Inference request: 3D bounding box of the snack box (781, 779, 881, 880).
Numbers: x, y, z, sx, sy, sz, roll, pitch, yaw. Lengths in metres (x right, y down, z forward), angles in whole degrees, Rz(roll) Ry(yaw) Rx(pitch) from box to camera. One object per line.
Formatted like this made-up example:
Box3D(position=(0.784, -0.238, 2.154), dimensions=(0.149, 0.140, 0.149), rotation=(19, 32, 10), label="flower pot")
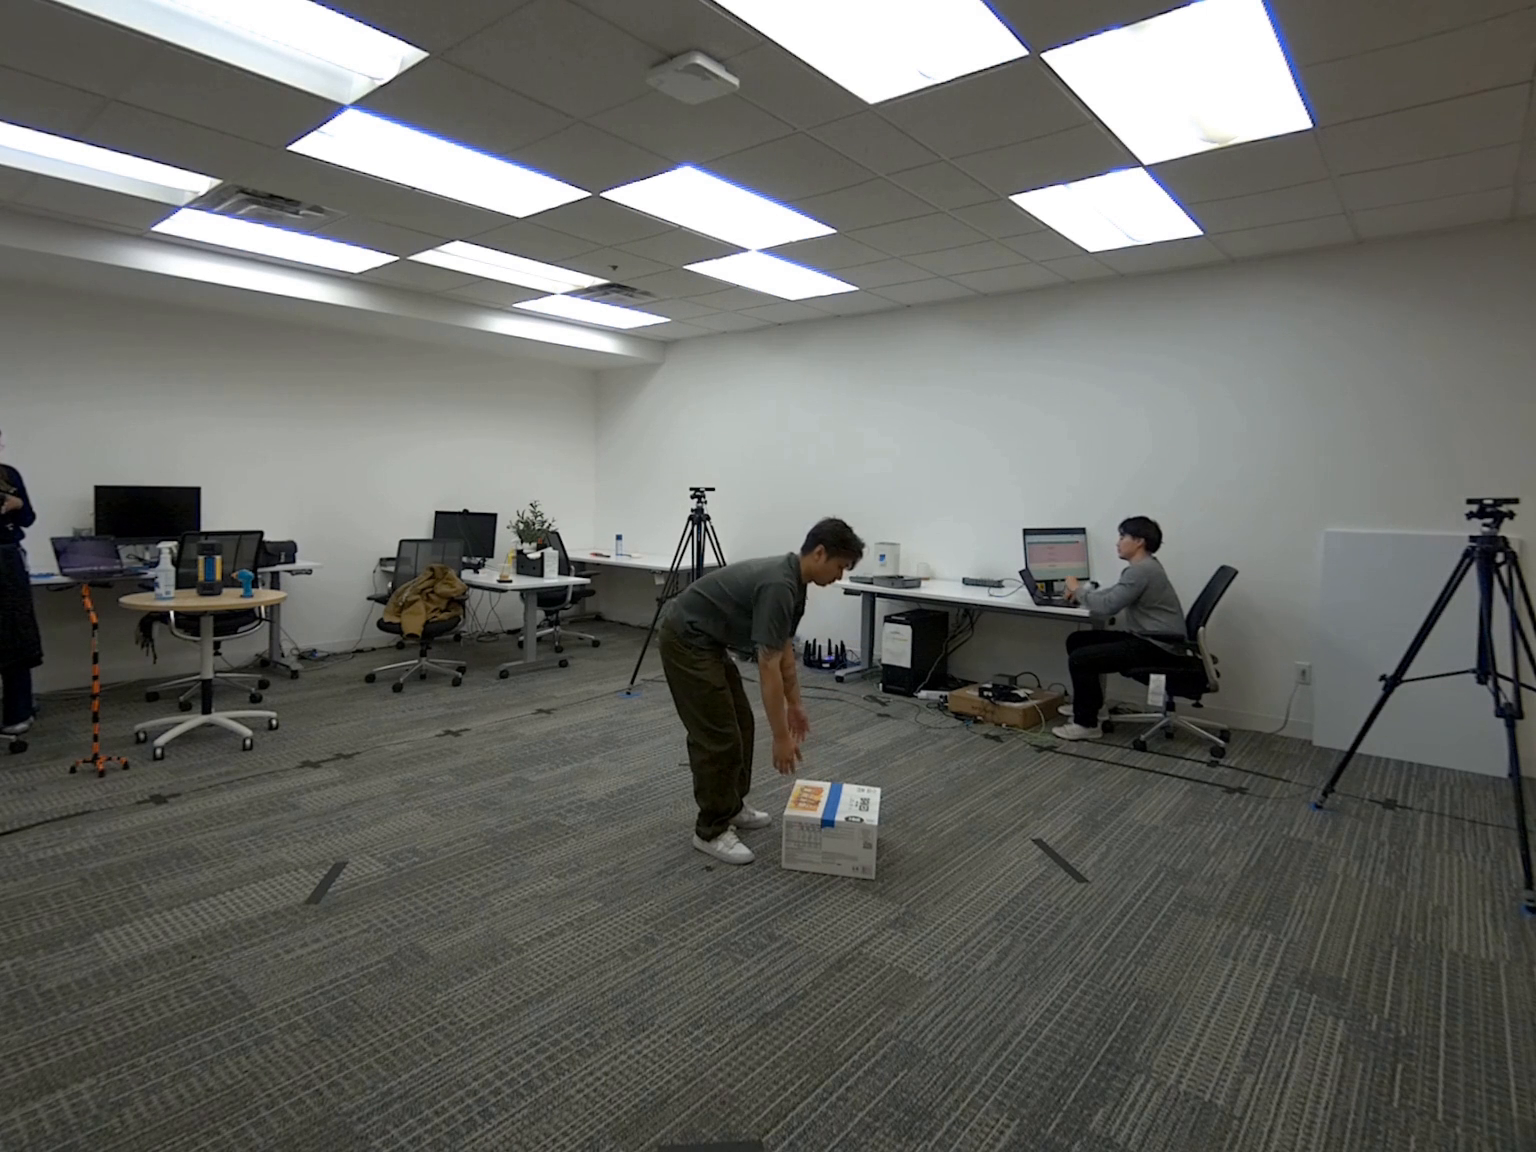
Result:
Box3D(position=(0.246, 0.961, 3.272), dimensions=(0.345, 0.205, 0.401), rotation=(2, 5, 11), label="snack box")
